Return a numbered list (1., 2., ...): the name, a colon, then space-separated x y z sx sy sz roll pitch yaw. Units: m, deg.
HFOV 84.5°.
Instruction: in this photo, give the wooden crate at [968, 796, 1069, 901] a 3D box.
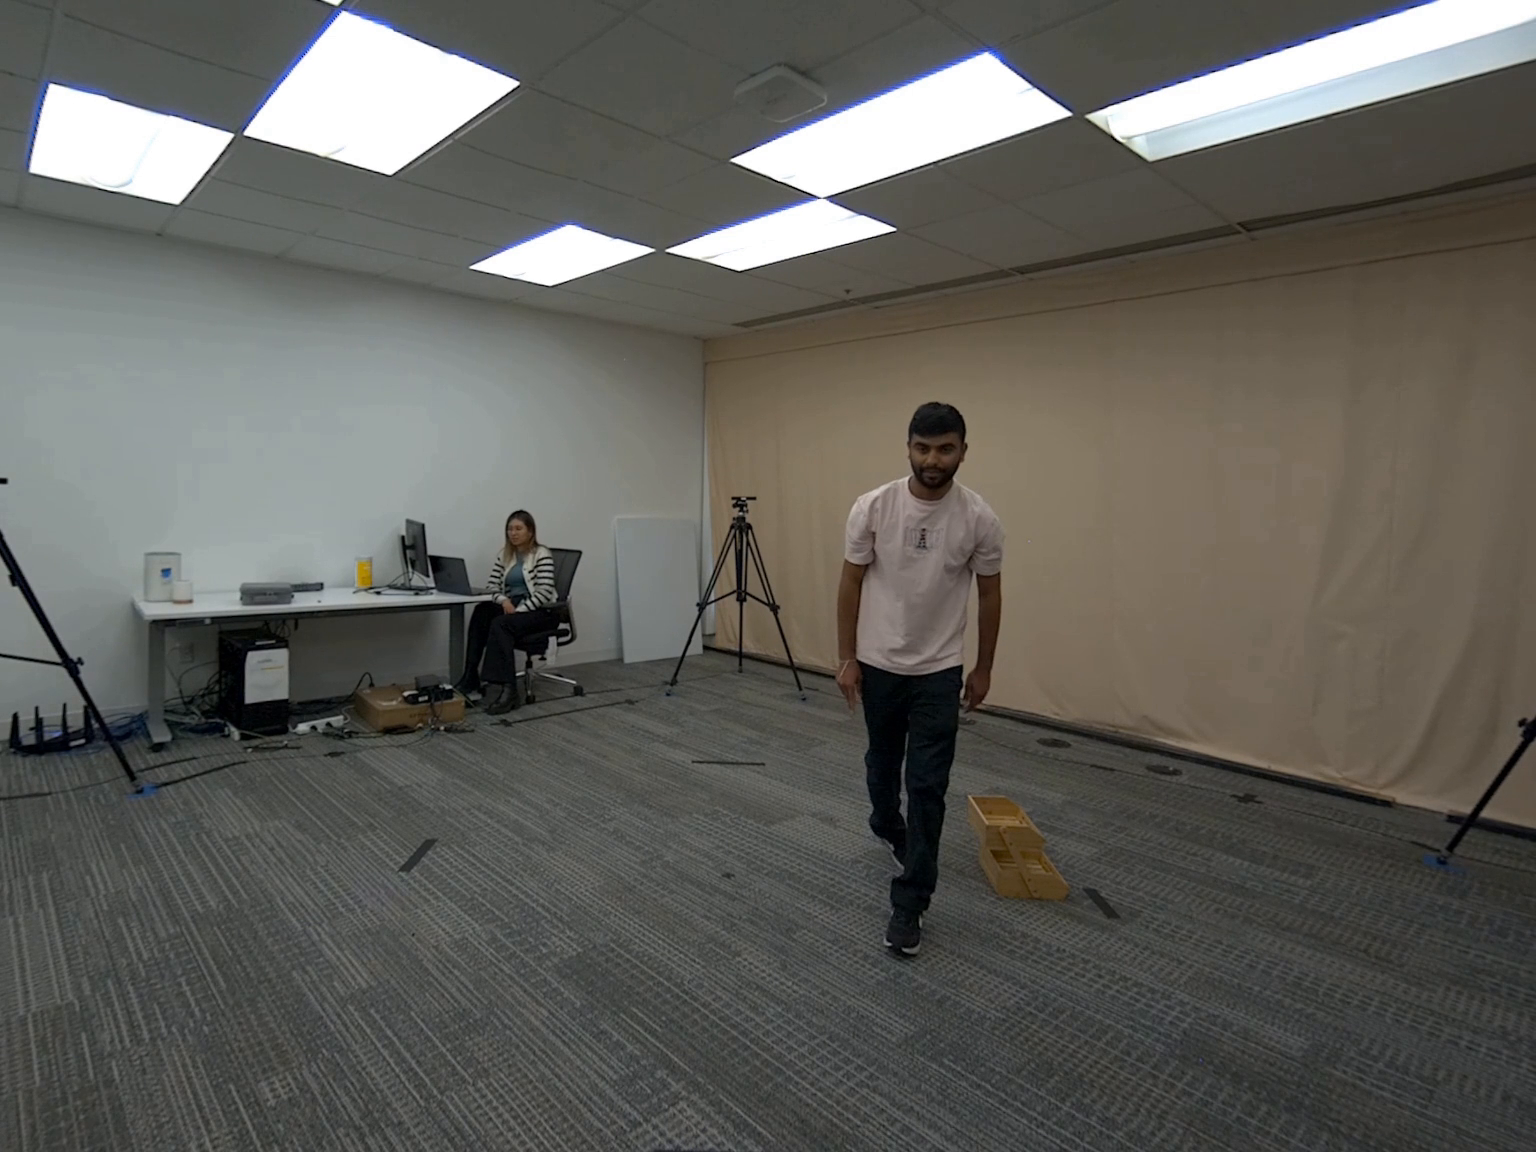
1. wooden crate: 0.921 1.000 3.137 0.302 0.273 0.324 2 3 1
